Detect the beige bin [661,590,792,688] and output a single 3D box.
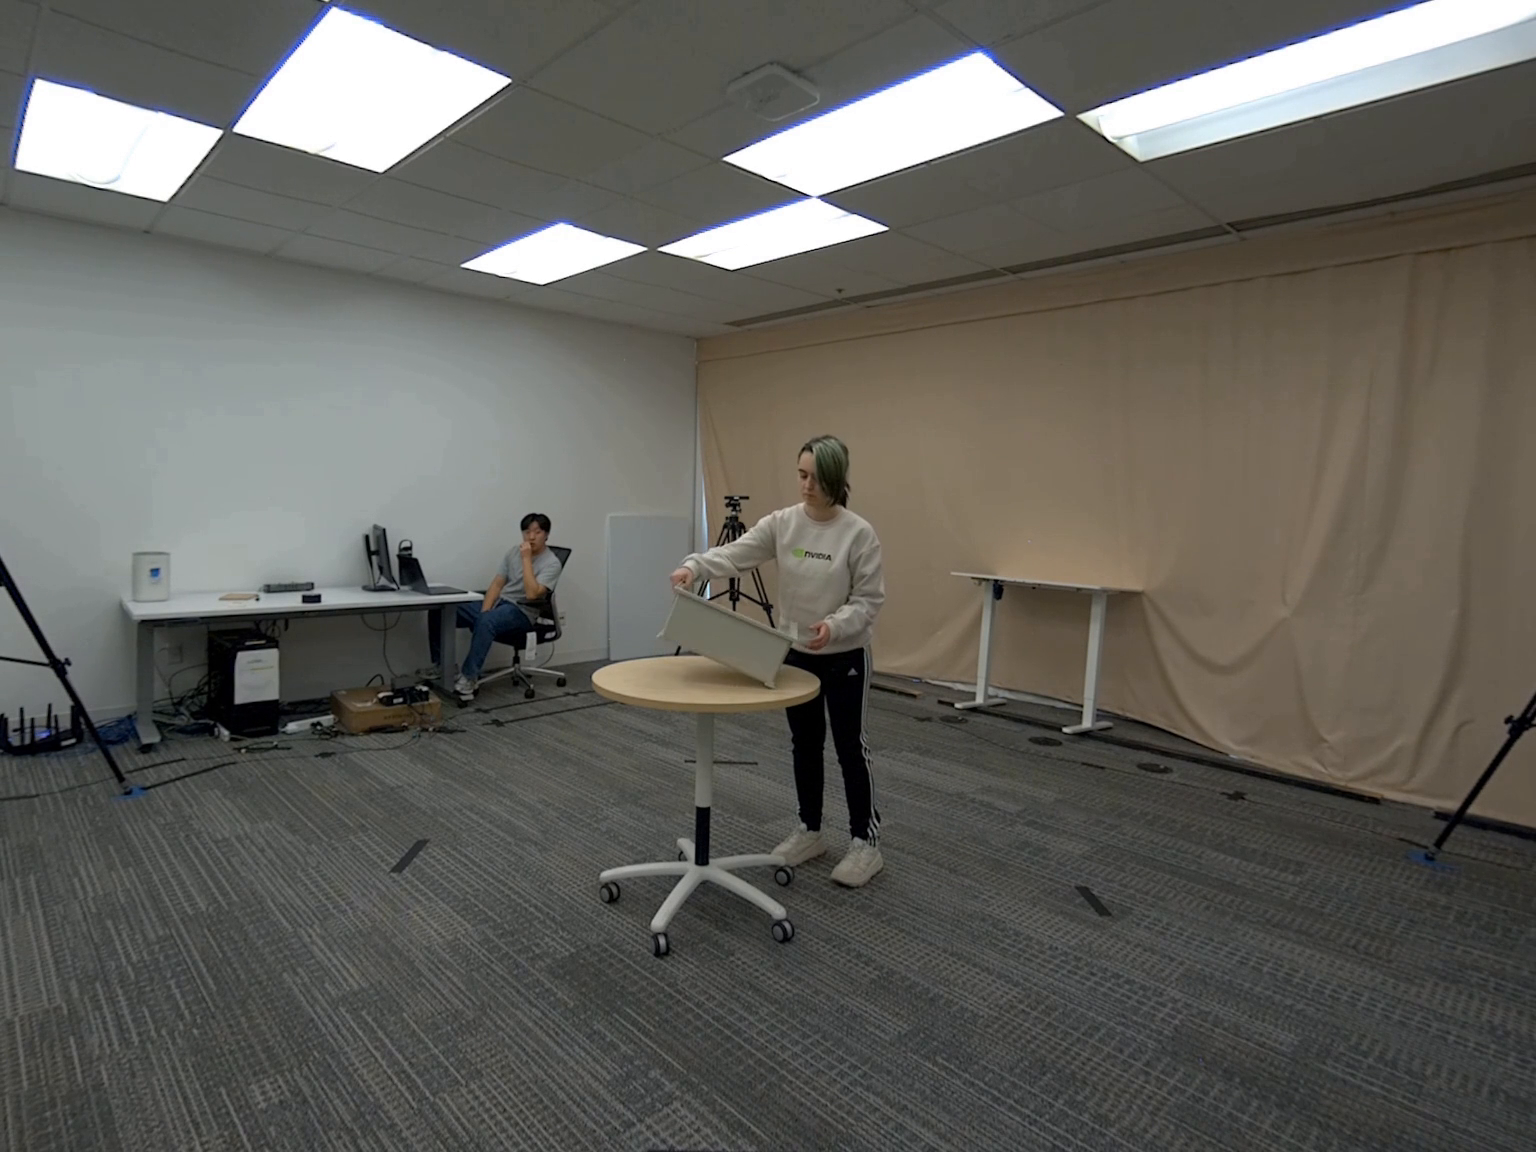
[{"bbox_3d":[-0.139,0.179,2.846,0.423,0.188,0.378,24,7,1],"label":"beige bin"}]
